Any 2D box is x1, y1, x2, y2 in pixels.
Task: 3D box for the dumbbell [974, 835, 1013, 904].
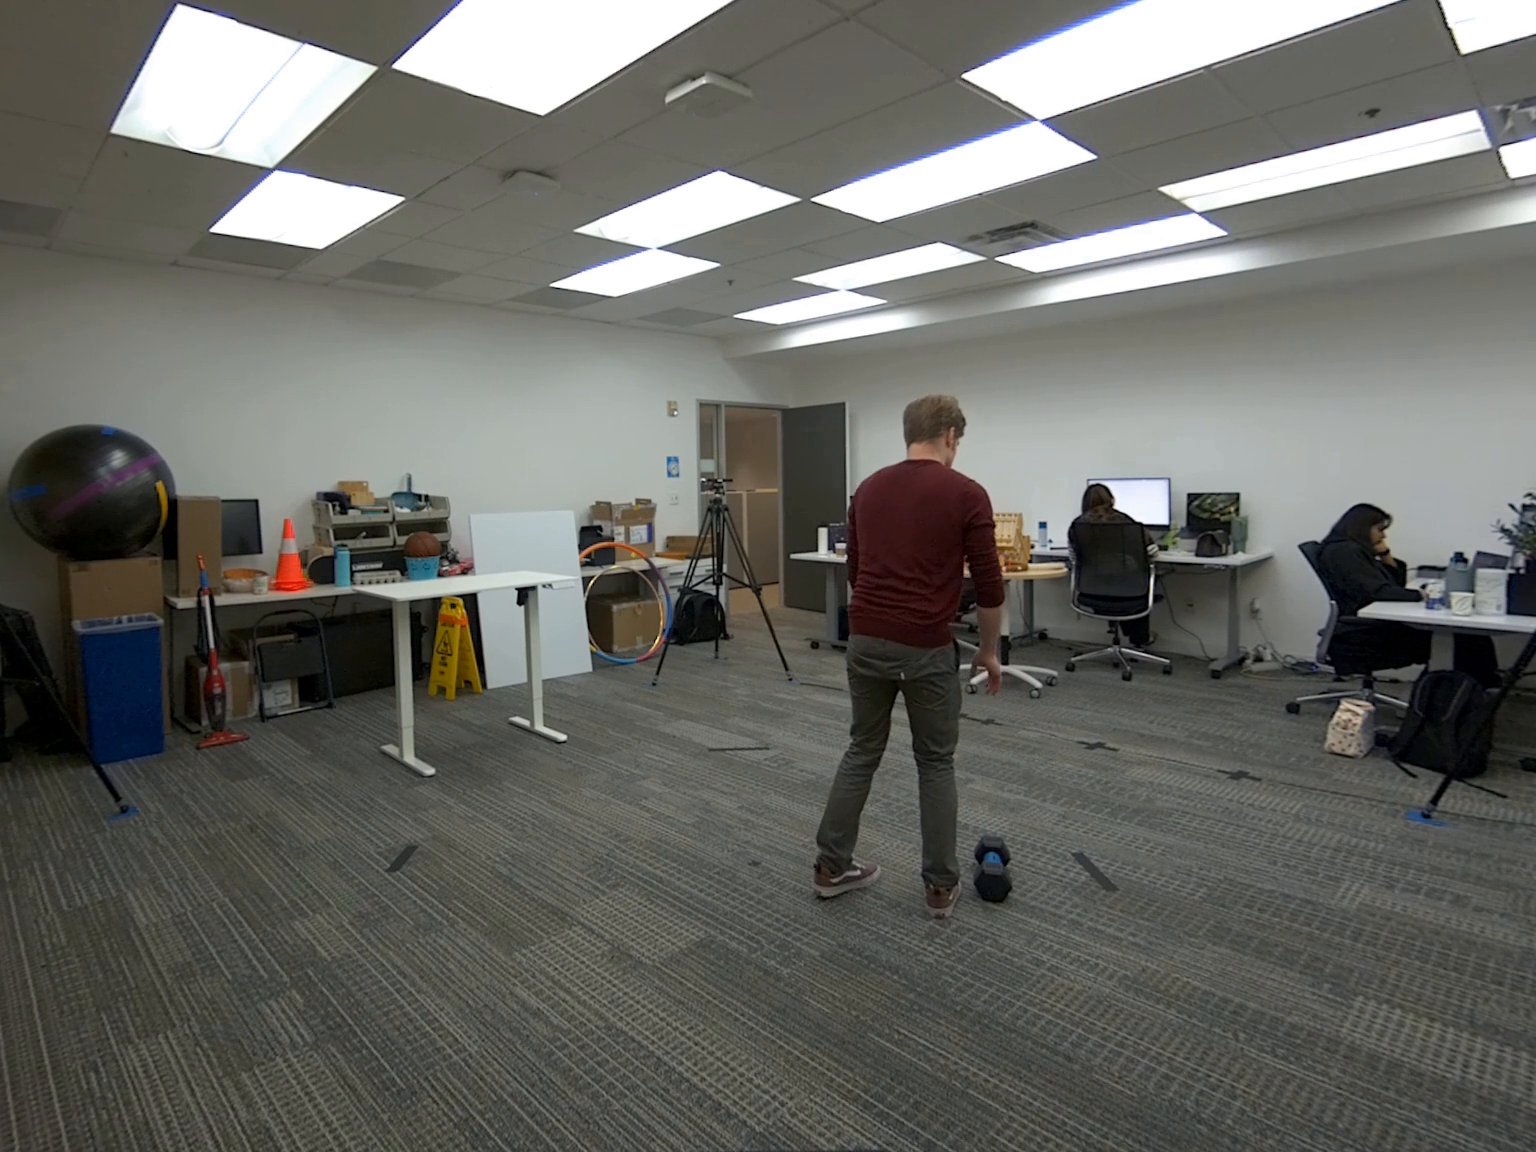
[{"bbox_3d":[0.772,0.996,2.922,0.110,0.122,0.290,31,12,9],"label":"dumbbell"}]
